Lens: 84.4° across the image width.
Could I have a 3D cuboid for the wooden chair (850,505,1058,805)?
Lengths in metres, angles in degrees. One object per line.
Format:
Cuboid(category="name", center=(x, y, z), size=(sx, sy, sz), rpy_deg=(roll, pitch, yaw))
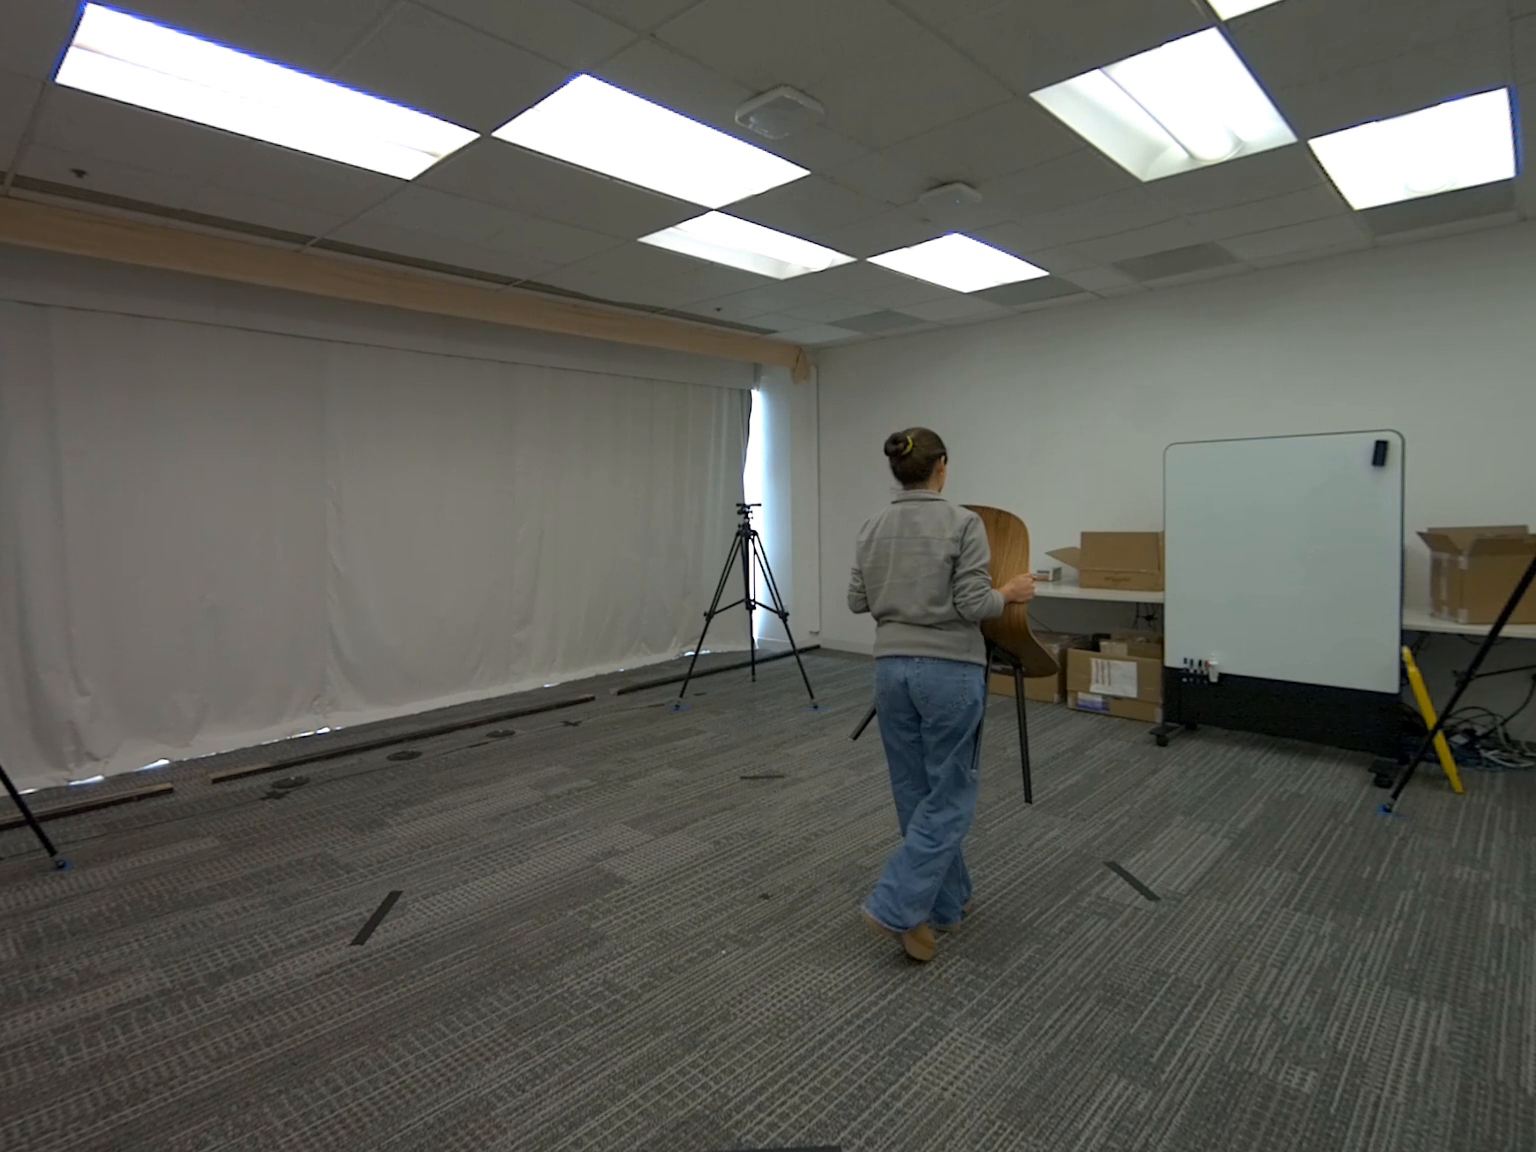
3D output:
Cuboid(category="wooden chair", center=(0.708, 0.261, 2.886), size=(0.494, 0.881, 0.504), rpy_deg=(3, -18, 42))
